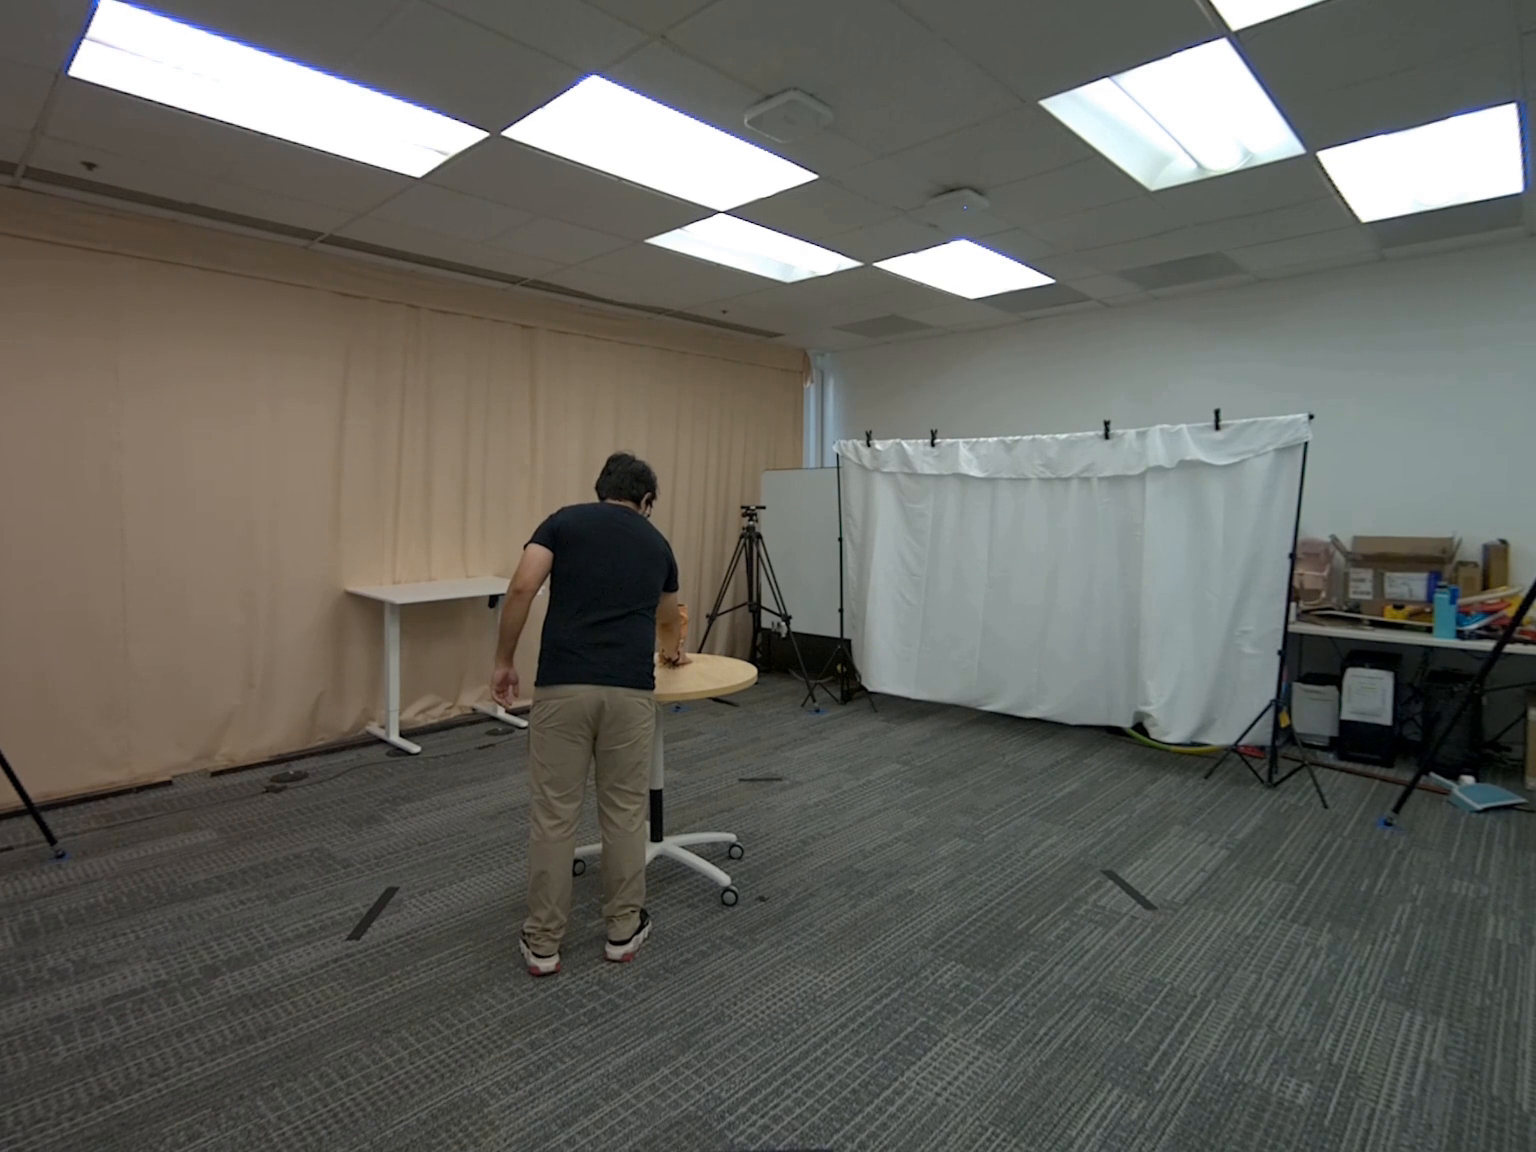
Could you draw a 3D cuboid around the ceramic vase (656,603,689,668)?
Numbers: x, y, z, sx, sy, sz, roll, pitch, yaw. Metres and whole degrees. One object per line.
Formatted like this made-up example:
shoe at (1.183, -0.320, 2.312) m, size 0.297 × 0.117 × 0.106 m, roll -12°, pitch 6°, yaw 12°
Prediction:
ceramic vase at (-0.377, 0.227, 3.310) m, size 0.134 × 0.219 × 0.160 m, roll -2°, pitch 3°, yaw -6°
